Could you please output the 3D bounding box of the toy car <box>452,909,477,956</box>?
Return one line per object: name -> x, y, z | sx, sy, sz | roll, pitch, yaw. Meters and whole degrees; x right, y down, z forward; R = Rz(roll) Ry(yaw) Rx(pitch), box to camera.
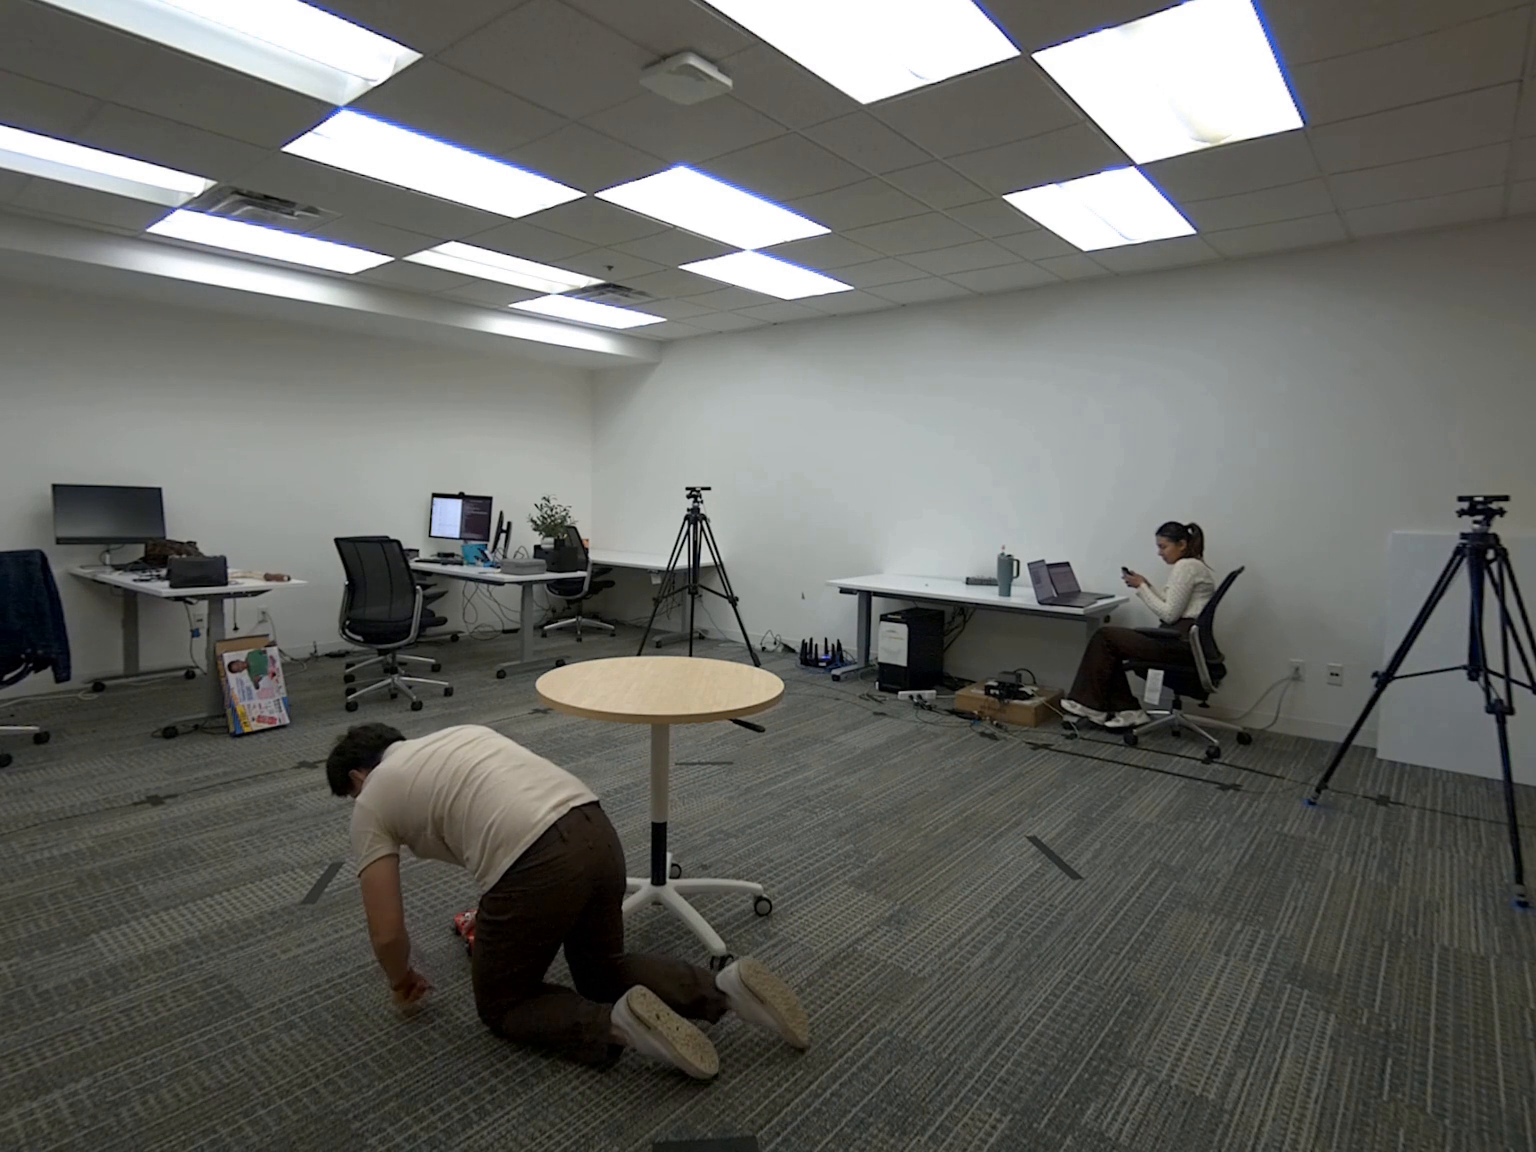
toy car -> -0.876, 1.077, 2.577 | 0.127, 0.084, 0.260 | -5, -4, -35
